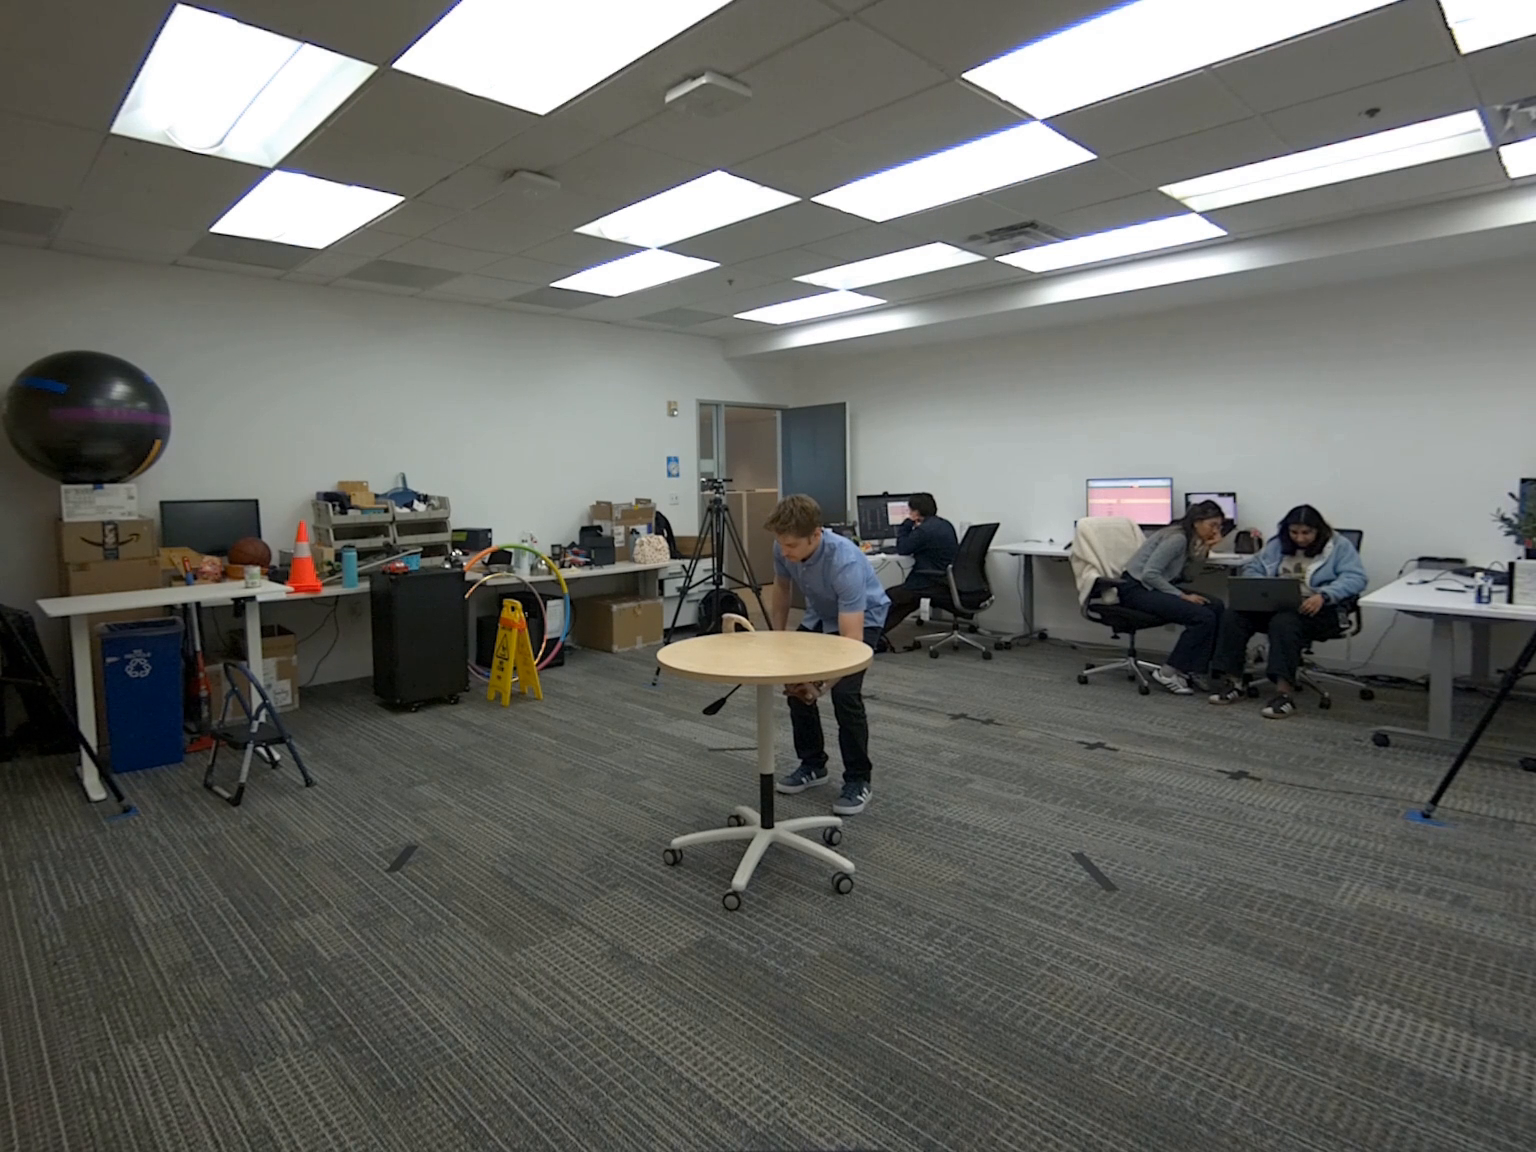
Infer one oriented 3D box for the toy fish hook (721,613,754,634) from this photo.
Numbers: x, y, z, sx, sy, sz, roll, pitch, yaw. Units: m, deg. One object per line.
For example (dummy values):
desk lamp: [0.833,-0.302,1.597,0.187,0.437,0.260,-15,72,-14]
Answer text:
toy fish hook: [-0.003,0.313,3.312,0.048,0.218,0.526,-34,47,-26]
